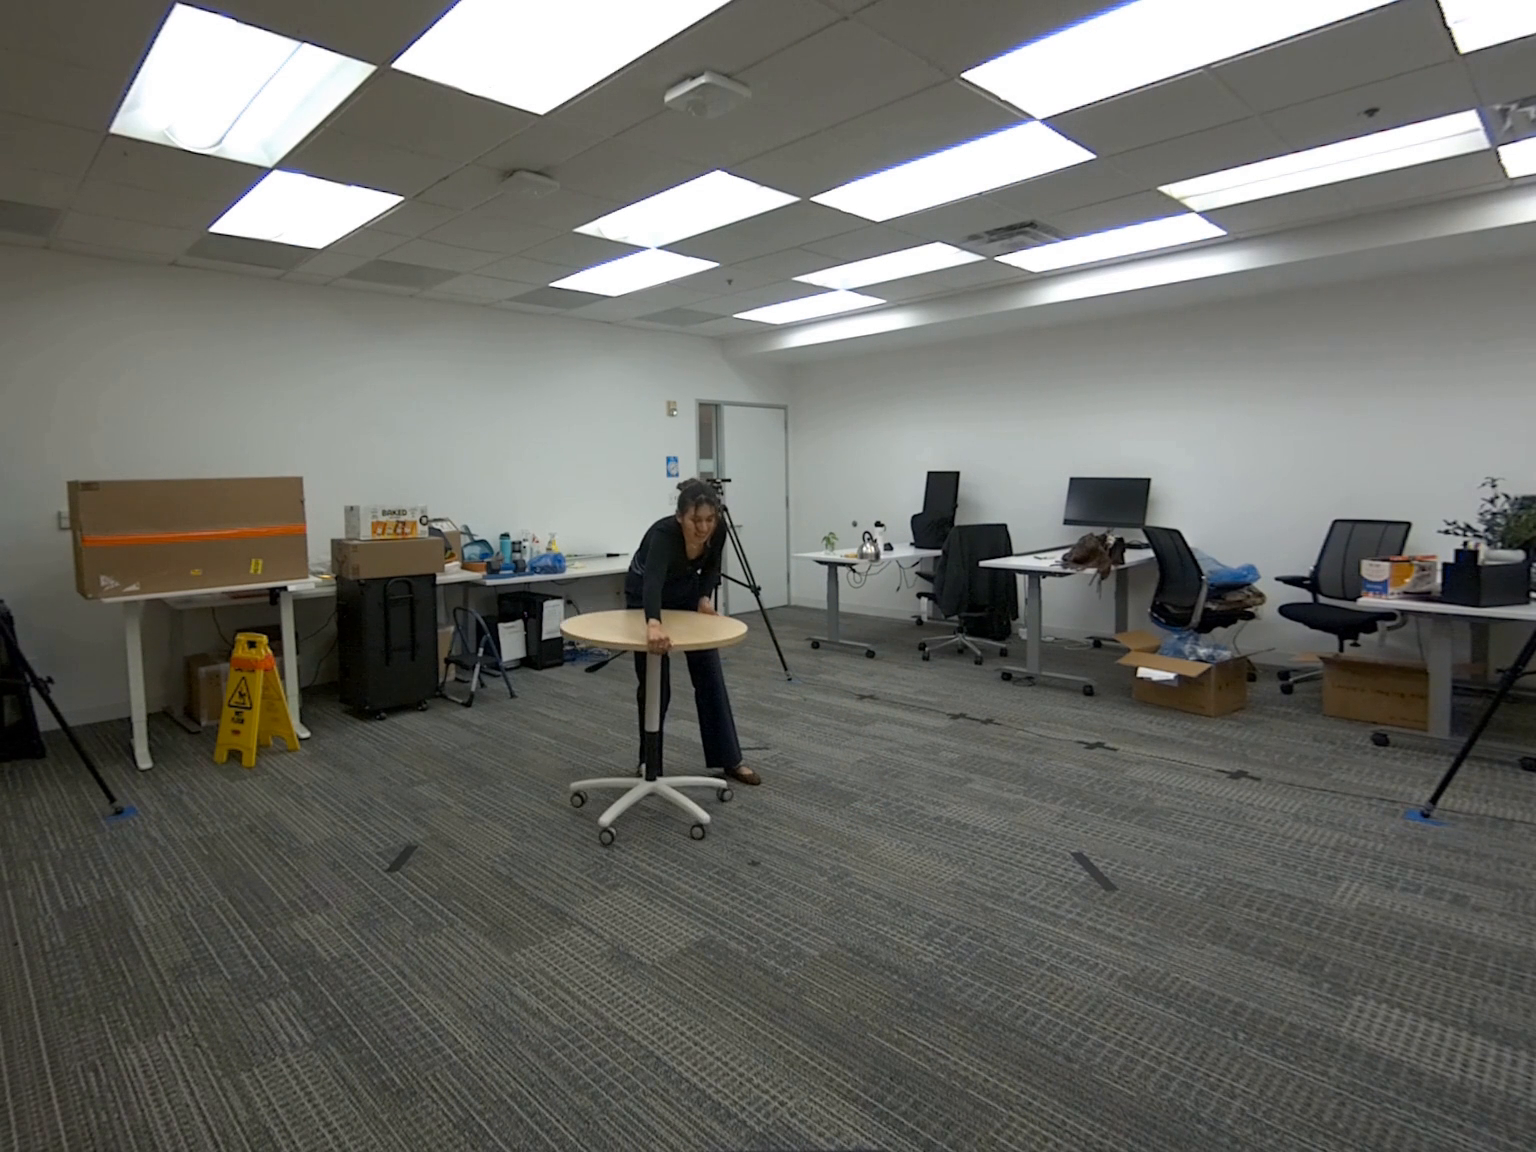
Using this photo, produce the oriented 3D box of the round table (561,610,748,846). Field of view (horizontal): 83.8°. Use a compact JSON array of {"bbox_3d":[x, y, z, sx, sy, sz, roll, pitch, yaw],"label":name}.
[{"bbox_3d":[-0.483,0.598,3.535,0.763,0.791,0.768,2,5,-2],"label":"round table"}]
